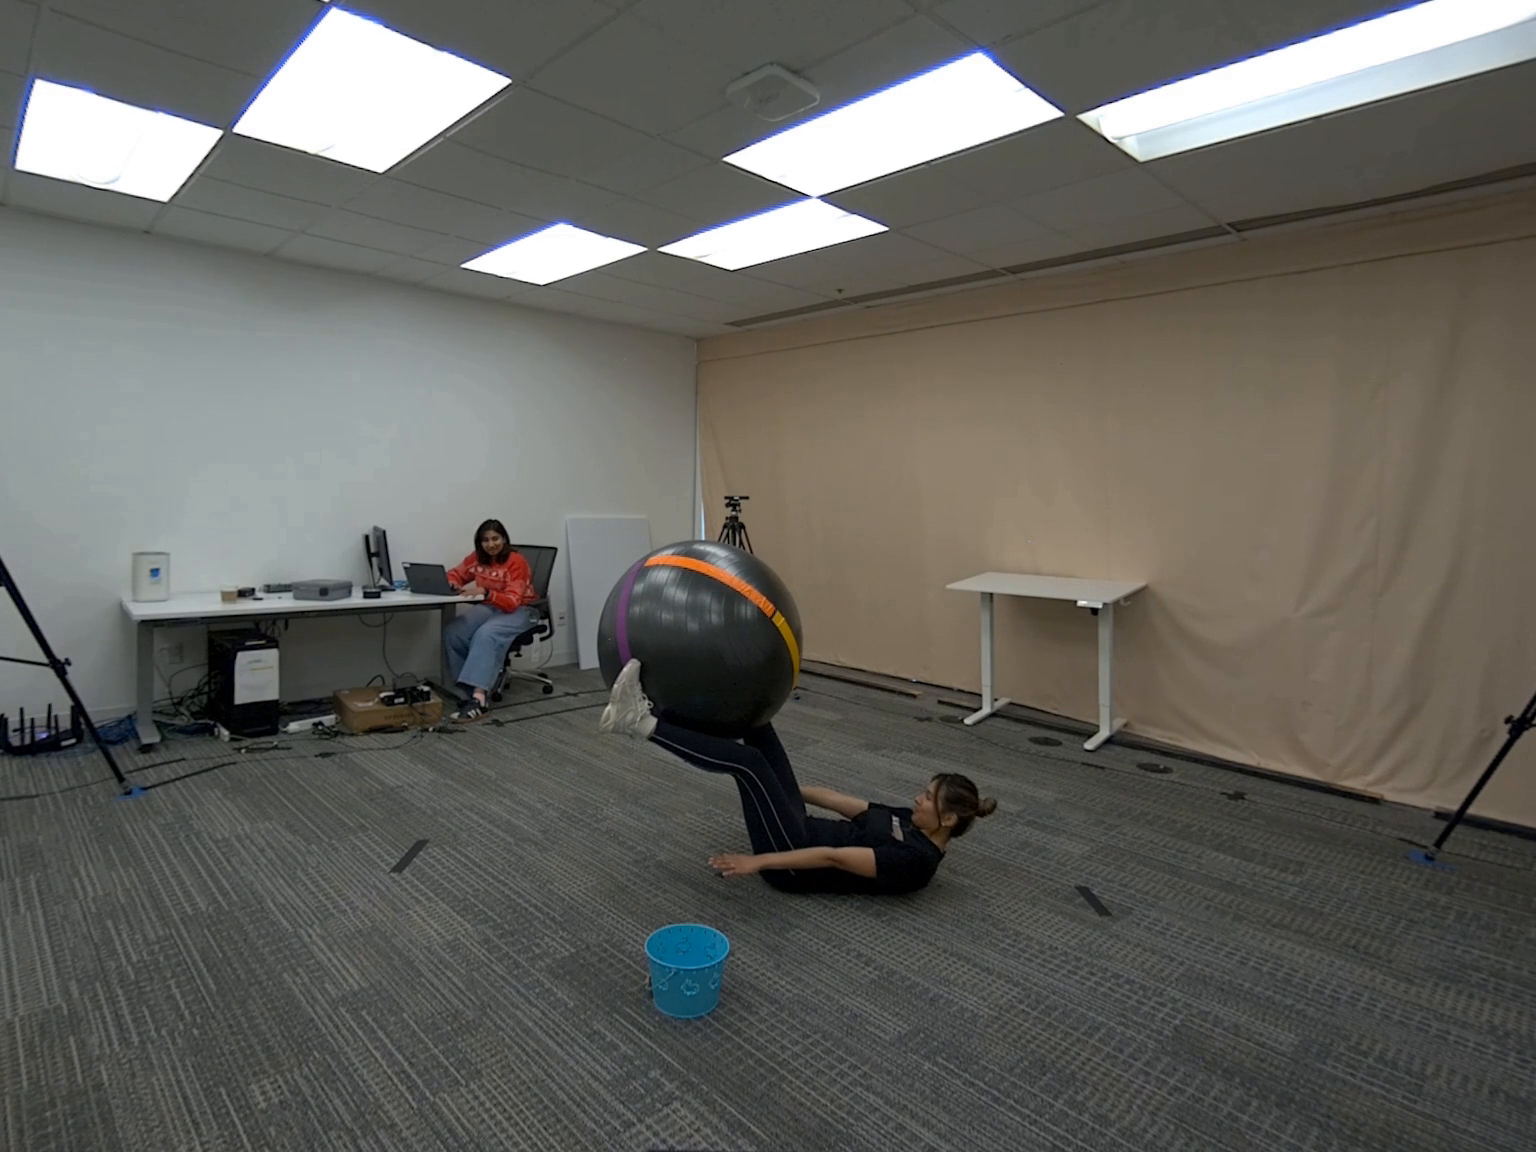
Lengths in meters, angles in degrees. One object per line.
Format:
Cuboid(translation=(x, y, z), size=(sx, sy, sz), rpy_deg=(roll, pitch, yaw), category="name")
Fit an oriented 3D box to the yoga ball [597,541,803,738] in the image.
Cuboid(translation=(-0.249, 0.251, 3.111), size=(0.757, 0.756, 0.761), rpy_deg=(1, 4, -1), category="yoga ball")
